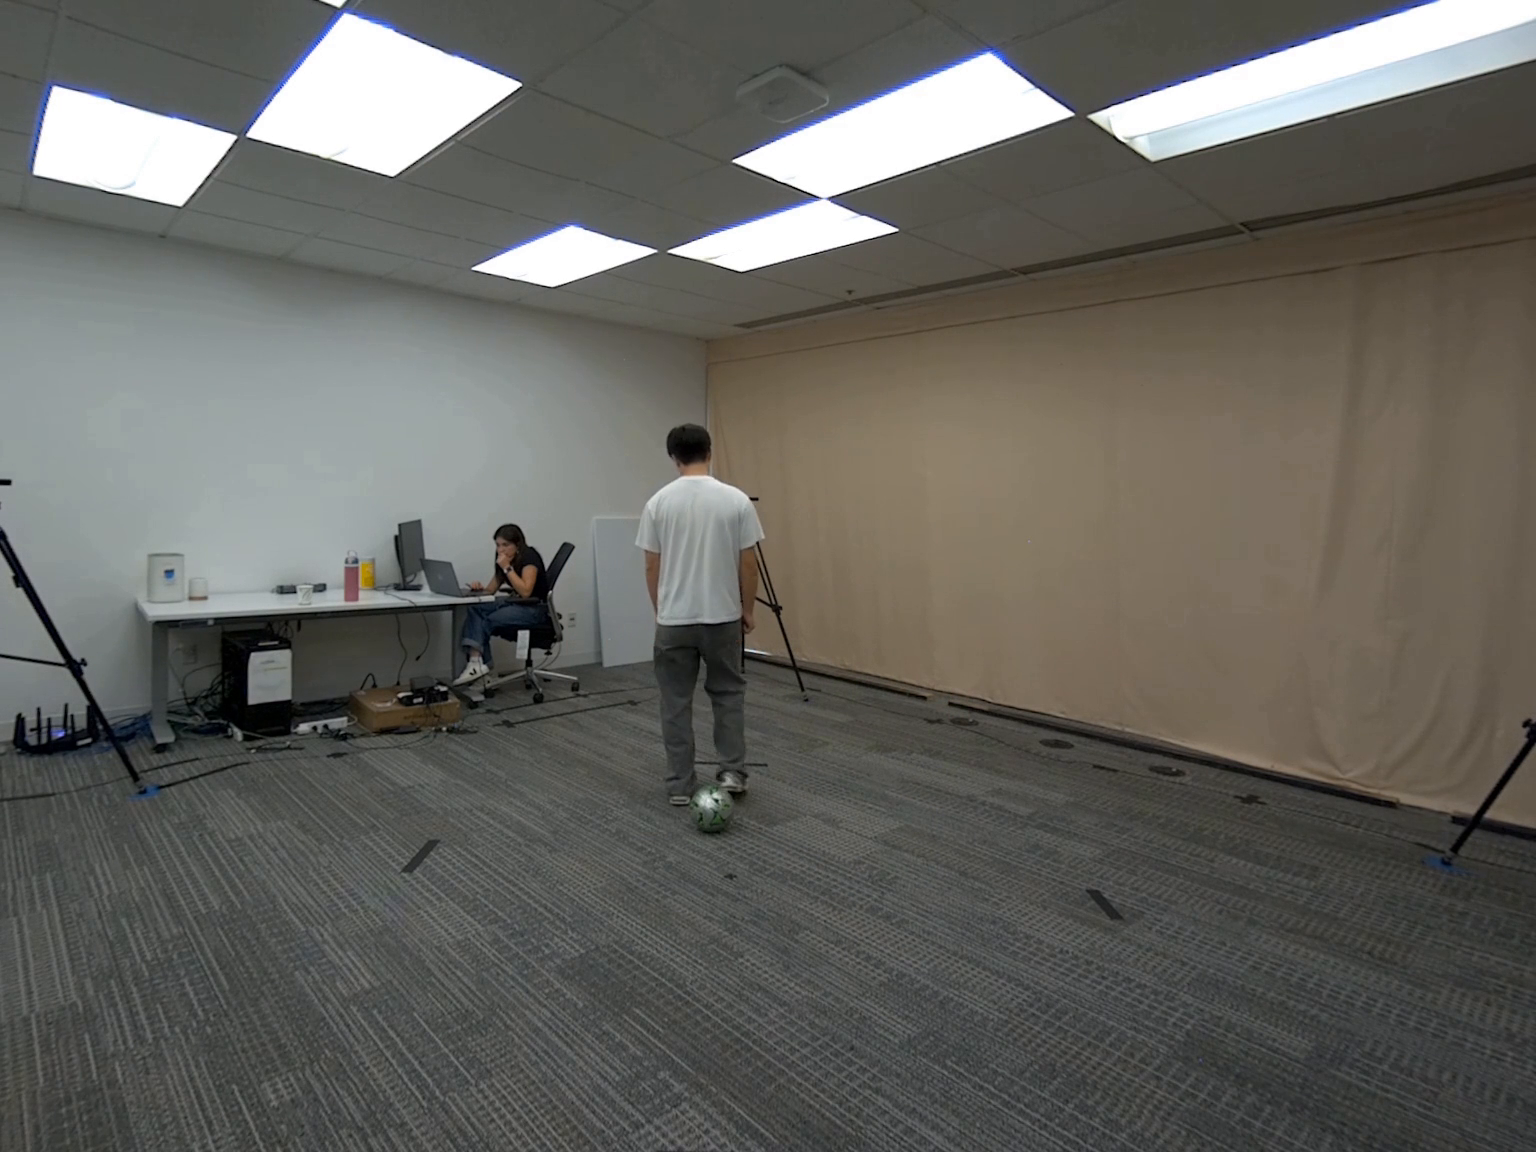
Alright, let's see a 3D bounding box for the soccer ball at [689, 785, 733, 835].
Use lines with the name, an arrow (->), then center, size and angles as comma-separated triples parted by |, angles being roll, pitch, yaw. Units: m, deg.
soccer ball -> -0.250, 0.980, 3.528 | 0.187, 0.187, 0.188 | 1, 4, -1
